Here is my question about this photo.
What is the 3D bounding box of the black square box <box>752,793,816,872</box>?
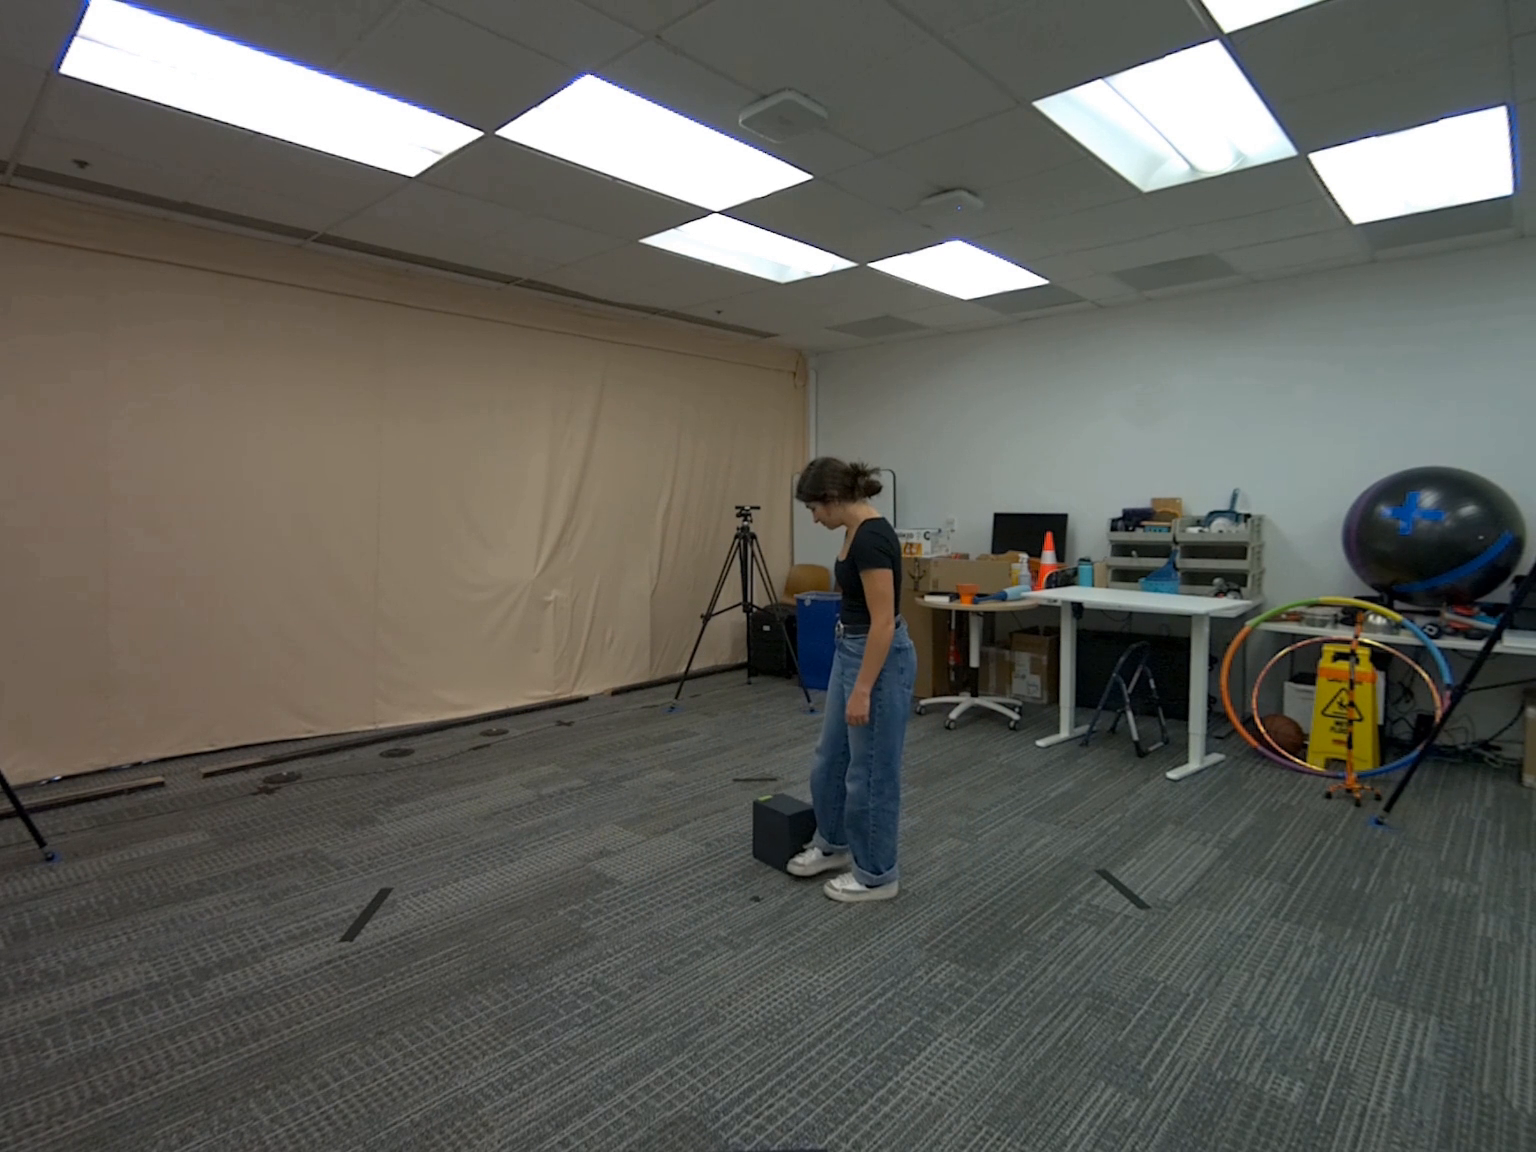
[{"bbox_3d":[0.067,0.996,3.297,0.151,0.227,0.224,-2,4,-39],"label":"black square box"}]
